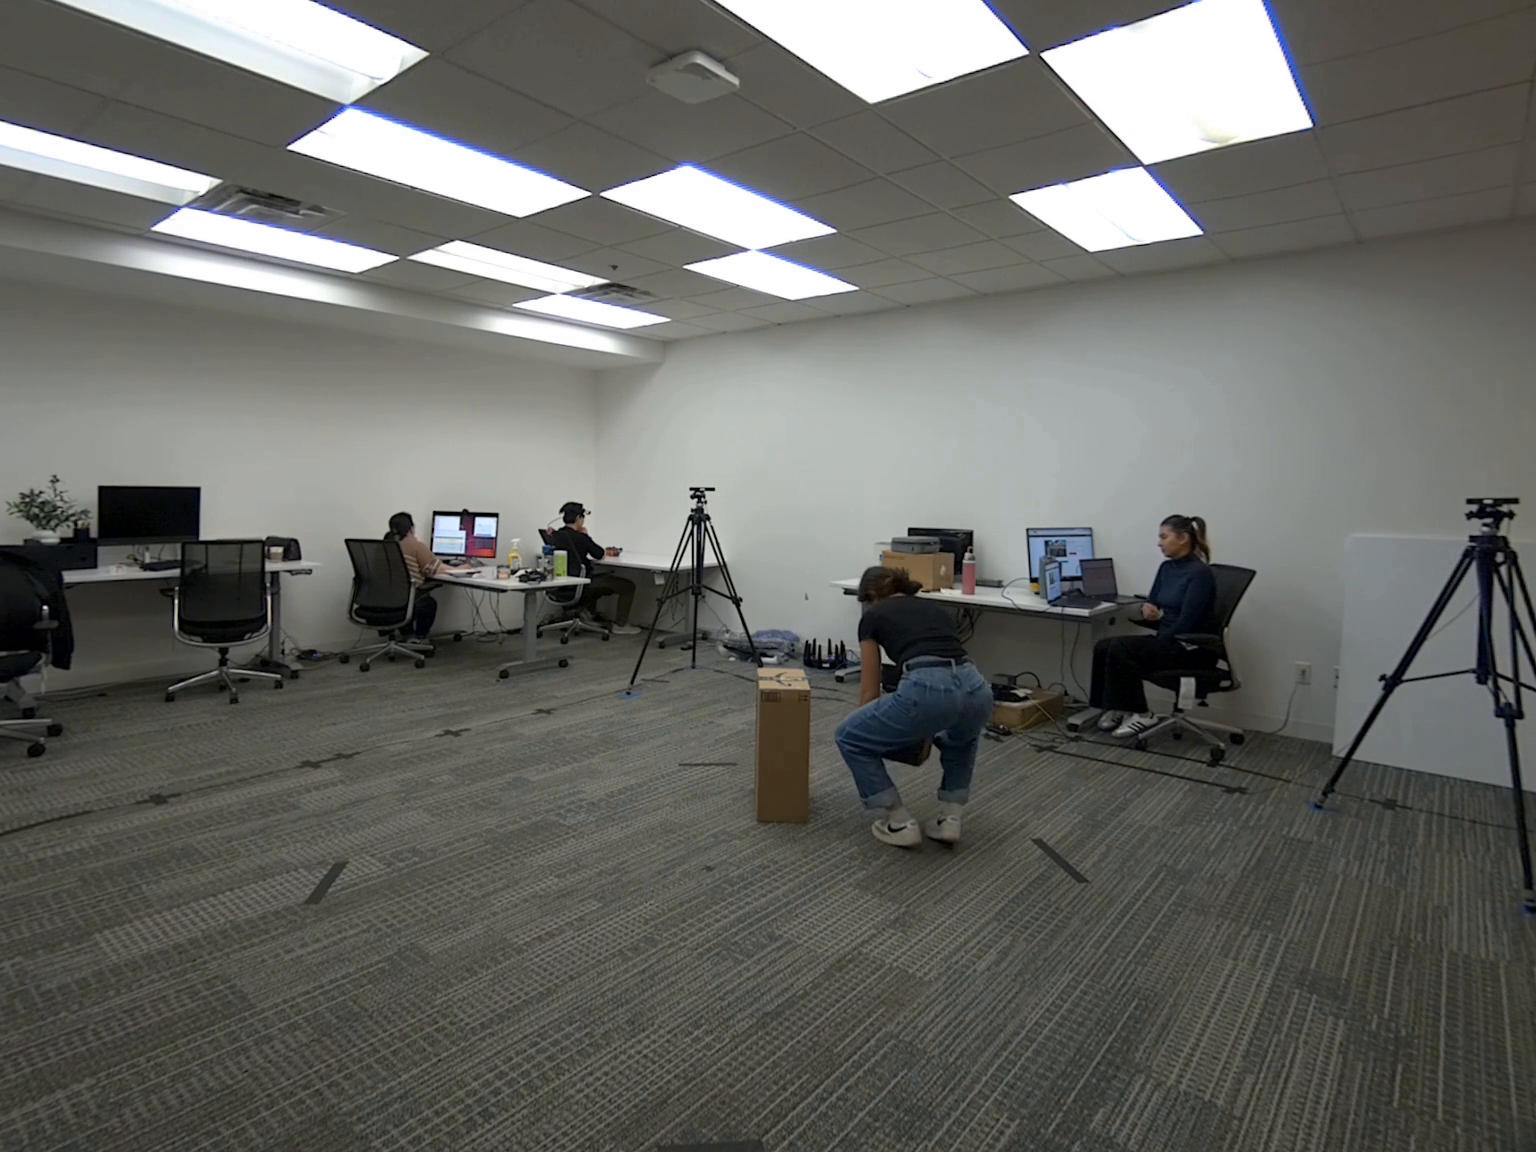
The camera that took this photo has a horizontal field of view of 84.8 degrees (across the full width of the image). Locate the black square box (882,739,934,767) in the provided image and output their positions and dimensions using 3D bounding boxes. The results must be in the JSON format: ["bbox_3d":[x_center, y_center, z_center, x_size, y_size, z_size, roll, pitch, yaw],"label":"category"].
[{"bbox_3d":[0.541,0.643,3.593,0.219,0.227,0.154,10,3,8],"label":"black square box"}]
